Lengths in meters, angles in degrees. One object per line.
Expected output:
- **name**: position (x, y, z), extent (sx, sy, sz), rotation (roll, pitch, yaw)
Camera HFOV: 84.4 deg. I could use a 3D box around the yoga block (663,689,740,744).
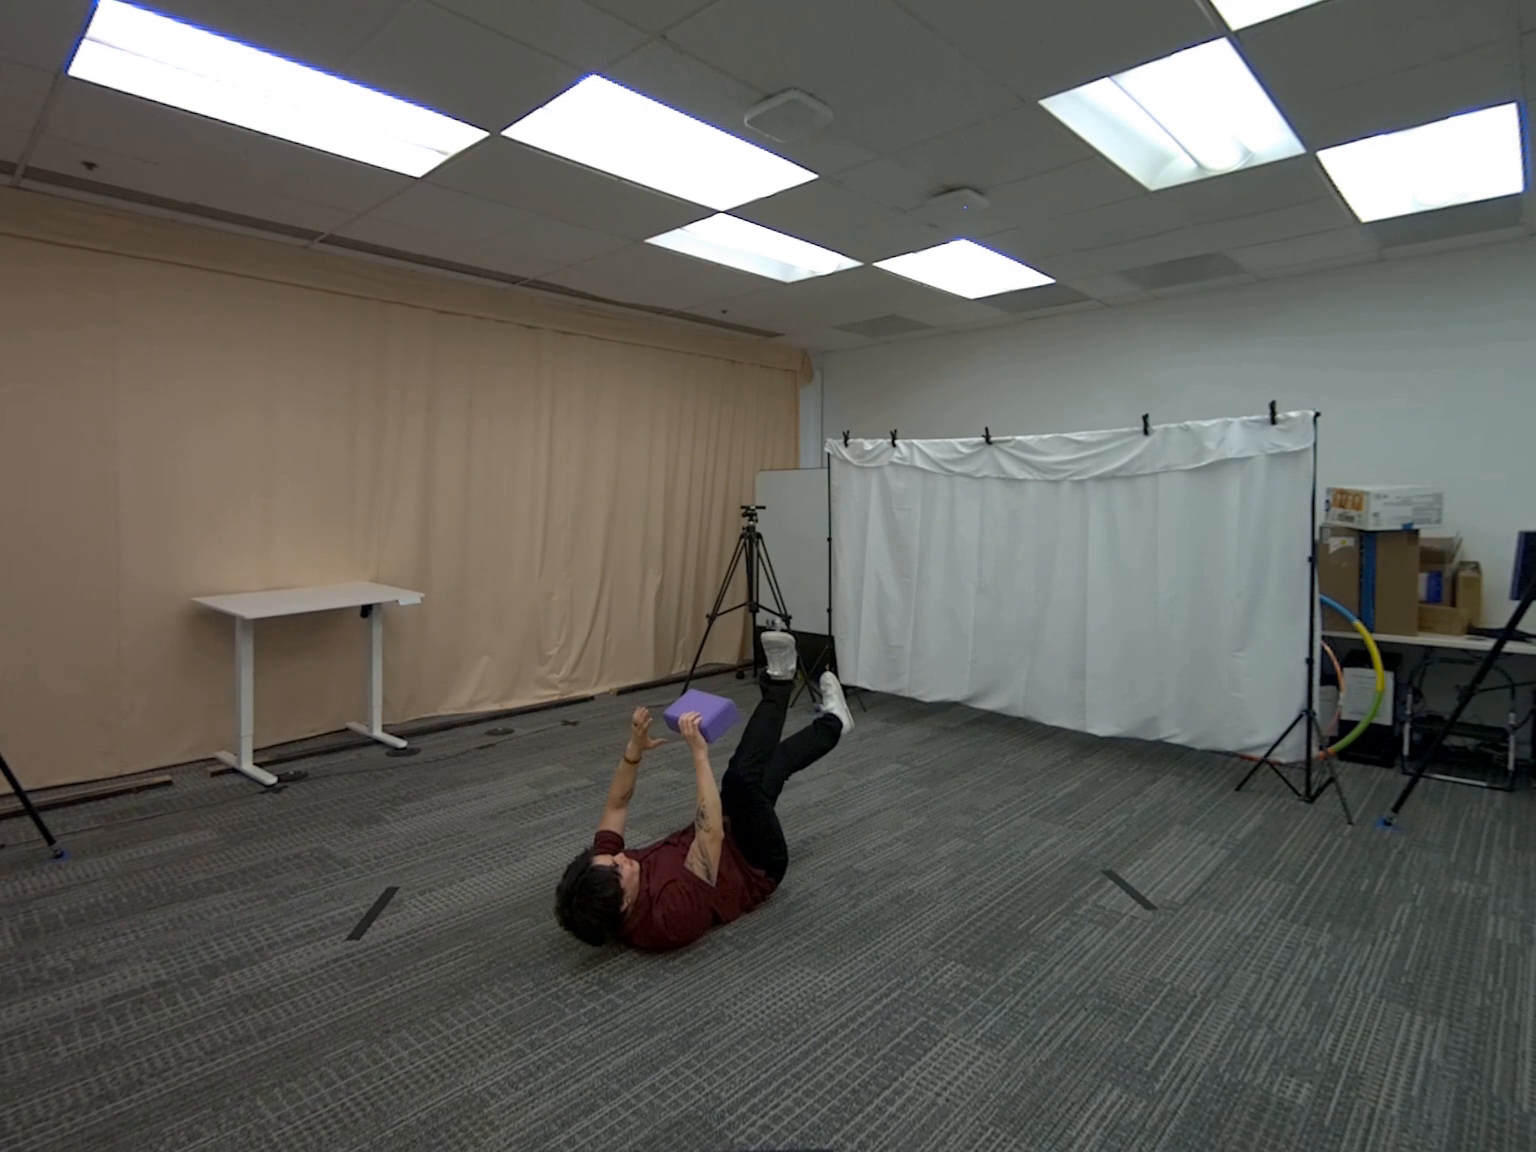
- **yoga block**: position (-0.226, 0.463, 2.784), extent (0.237, 0.075, 0.147), rotation (5, 36, 49)
